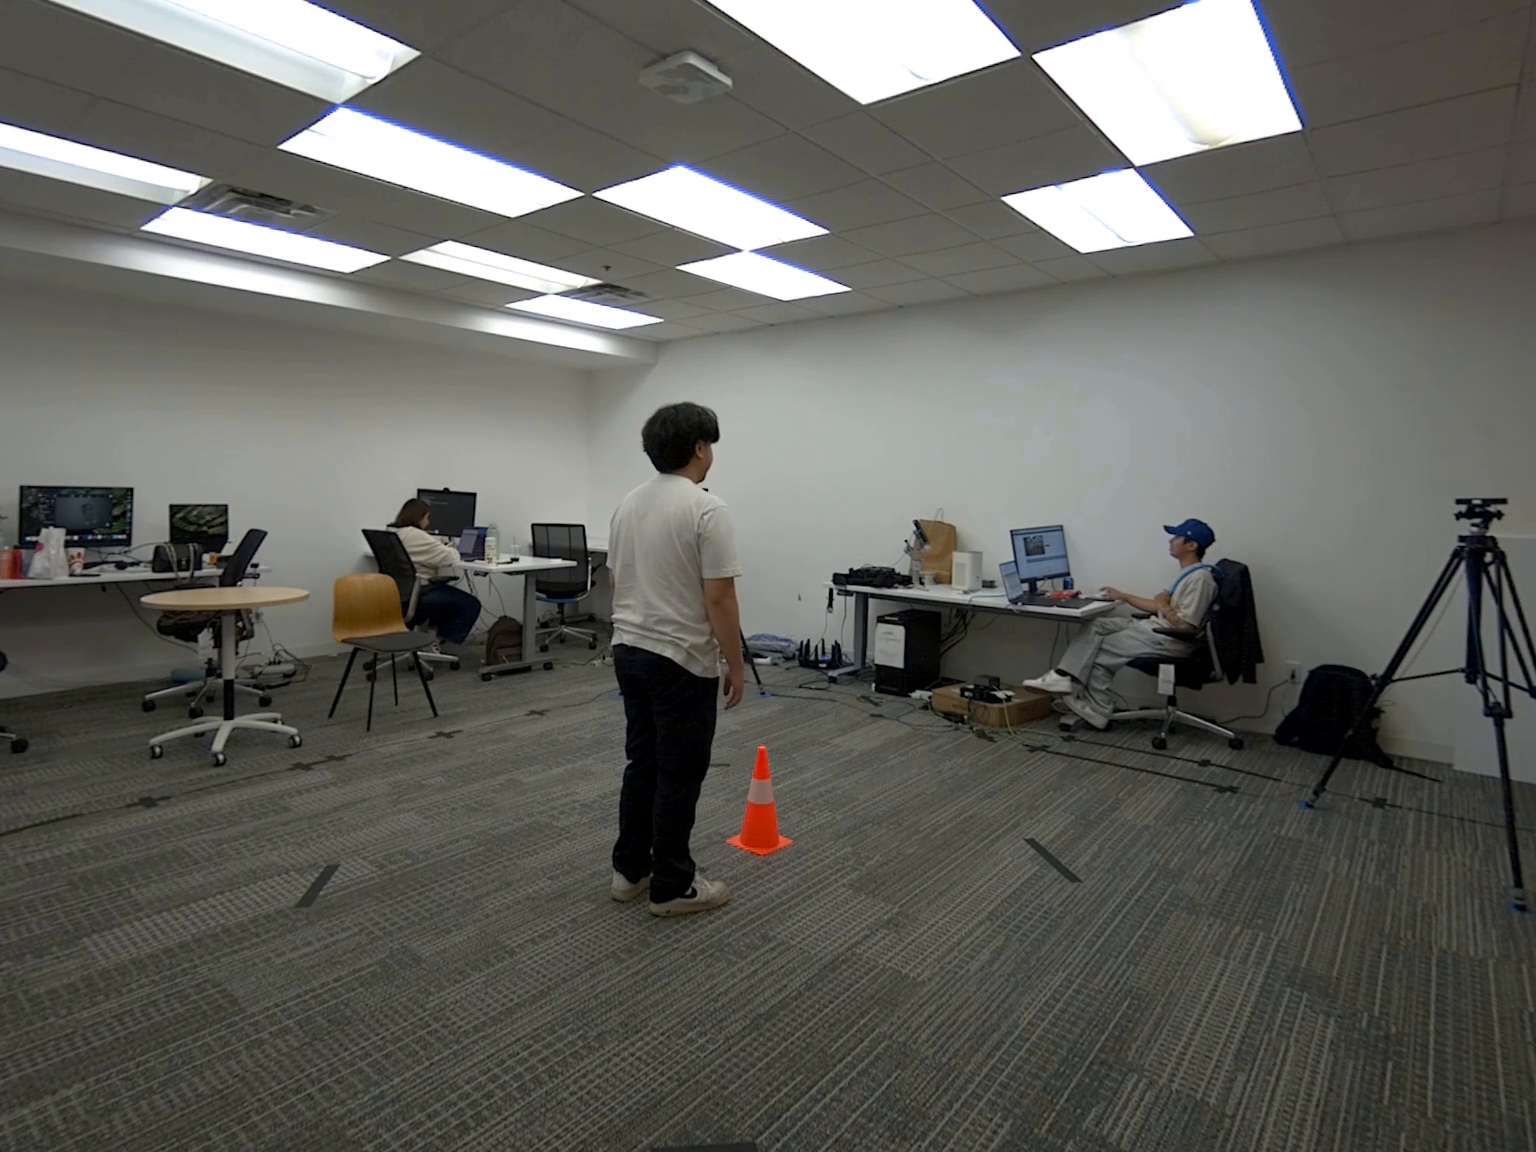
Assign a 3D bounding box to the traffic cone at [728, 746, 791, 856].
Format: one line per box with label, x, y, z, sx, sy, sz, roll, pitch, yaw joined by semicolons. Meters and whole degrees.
traffic cone;-0.034;0.859;3.357;0.212;0.382;0.197;6;6;44
